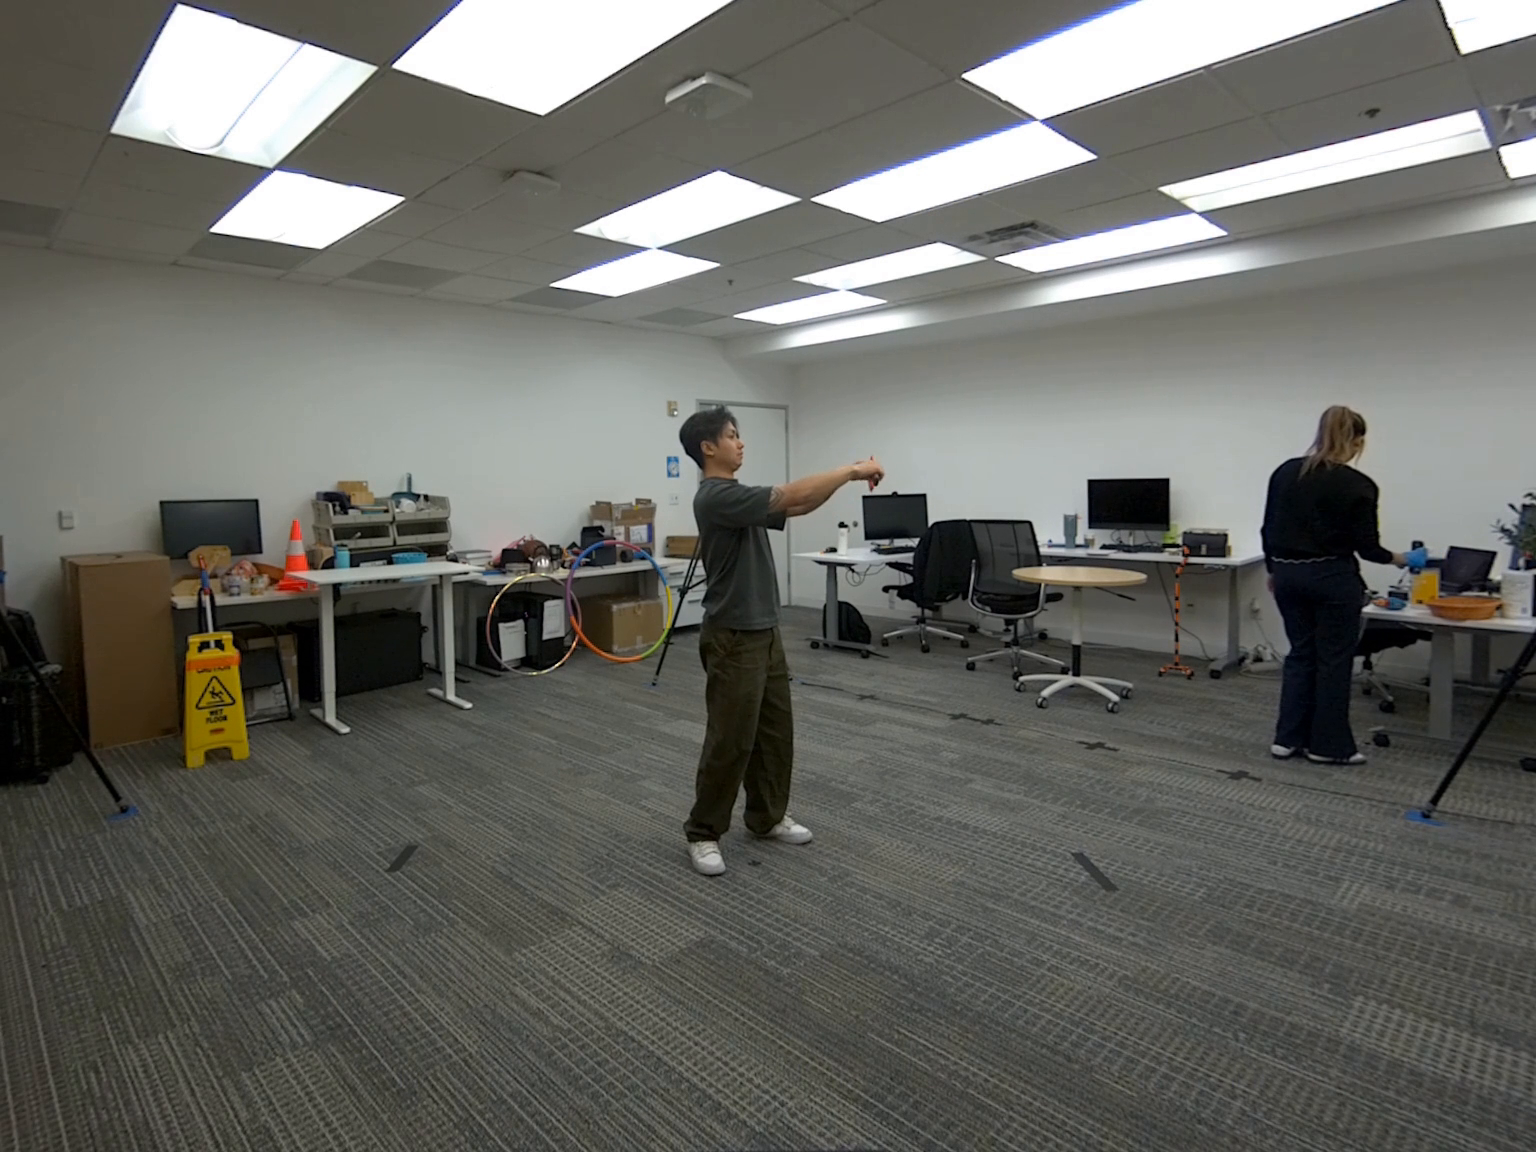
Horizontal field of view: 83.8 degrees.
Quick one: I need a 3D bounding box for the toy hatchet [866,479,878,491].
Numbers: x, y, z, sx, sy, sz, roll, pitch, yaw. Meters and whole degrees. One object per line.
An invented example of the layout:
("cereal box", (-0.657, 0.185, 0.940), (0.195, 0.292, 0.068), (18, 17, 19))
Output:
("toy hatchet", (0.382, -0.344, 3.110), (0.030, 0.129, 0.273), (6, 23, 5))
